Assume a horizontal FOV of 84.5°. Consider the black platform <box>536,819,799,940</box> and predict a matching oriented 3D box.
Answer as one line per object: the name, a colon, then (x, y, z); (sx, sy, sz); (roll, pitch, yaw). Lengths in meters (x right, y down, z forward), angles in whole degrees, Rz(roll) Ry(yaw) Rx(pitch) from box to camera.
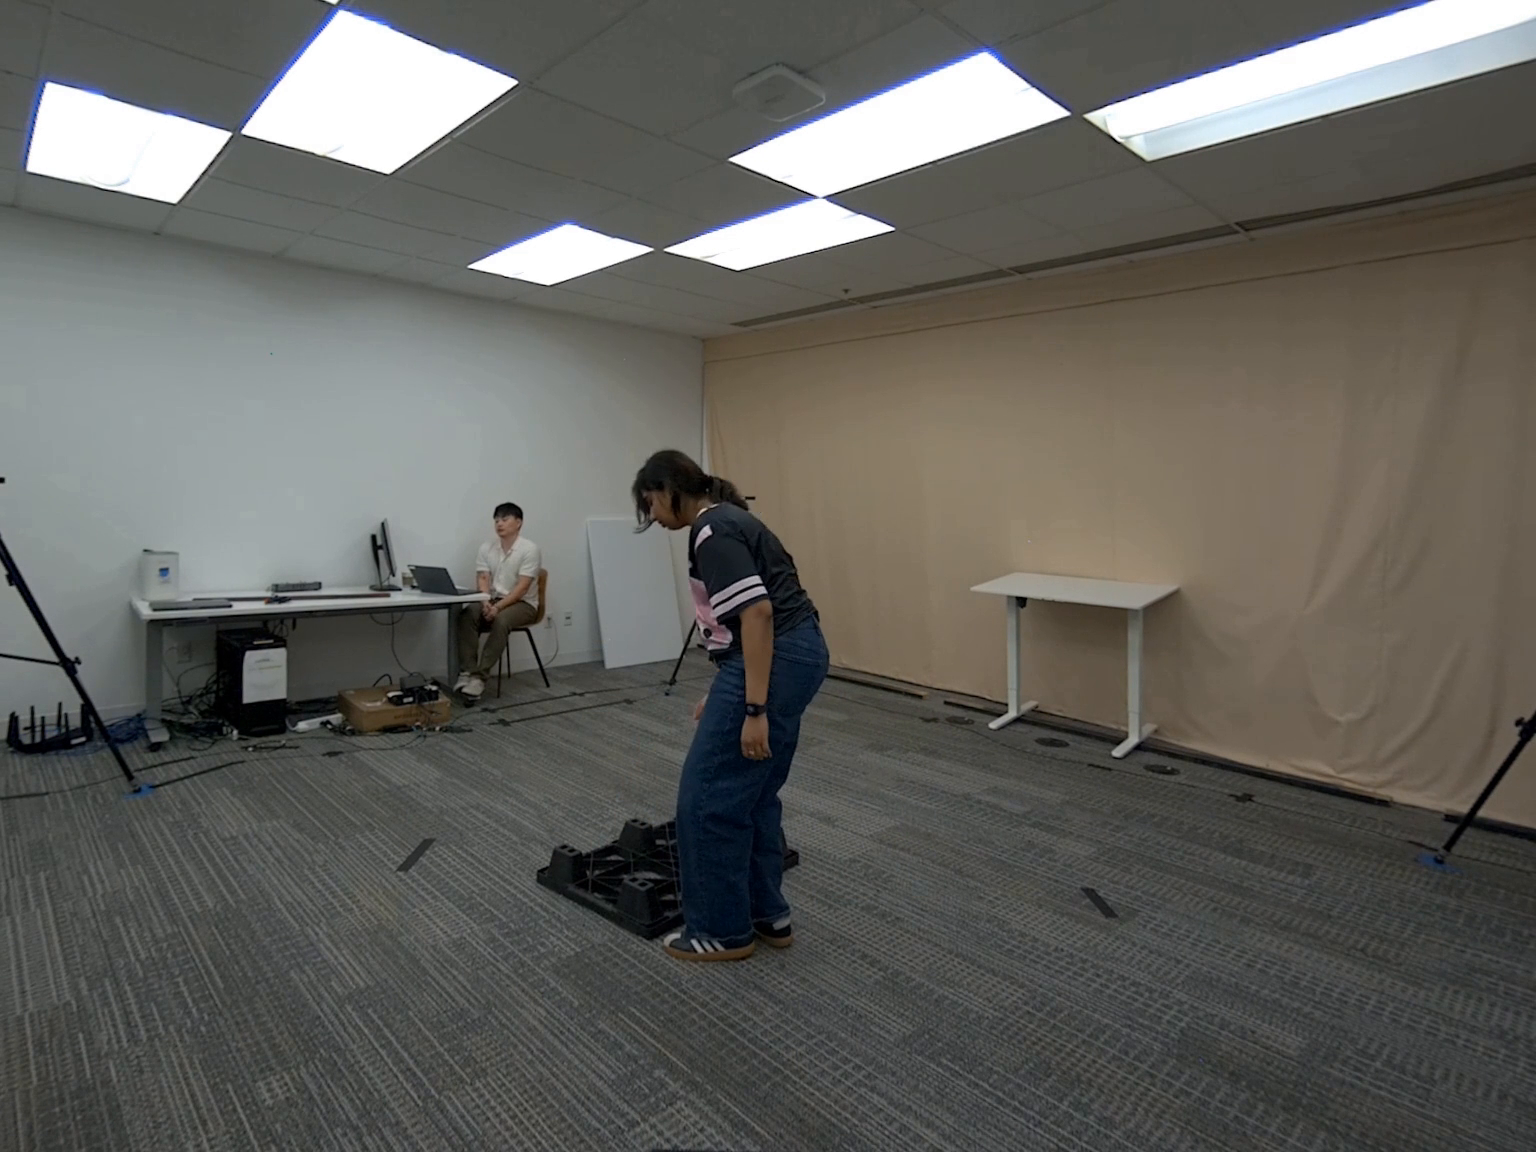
black platform: (-0.363, 1.034, 3.124); (0.620, 0.143, 0.788); (6, 7, 39)
